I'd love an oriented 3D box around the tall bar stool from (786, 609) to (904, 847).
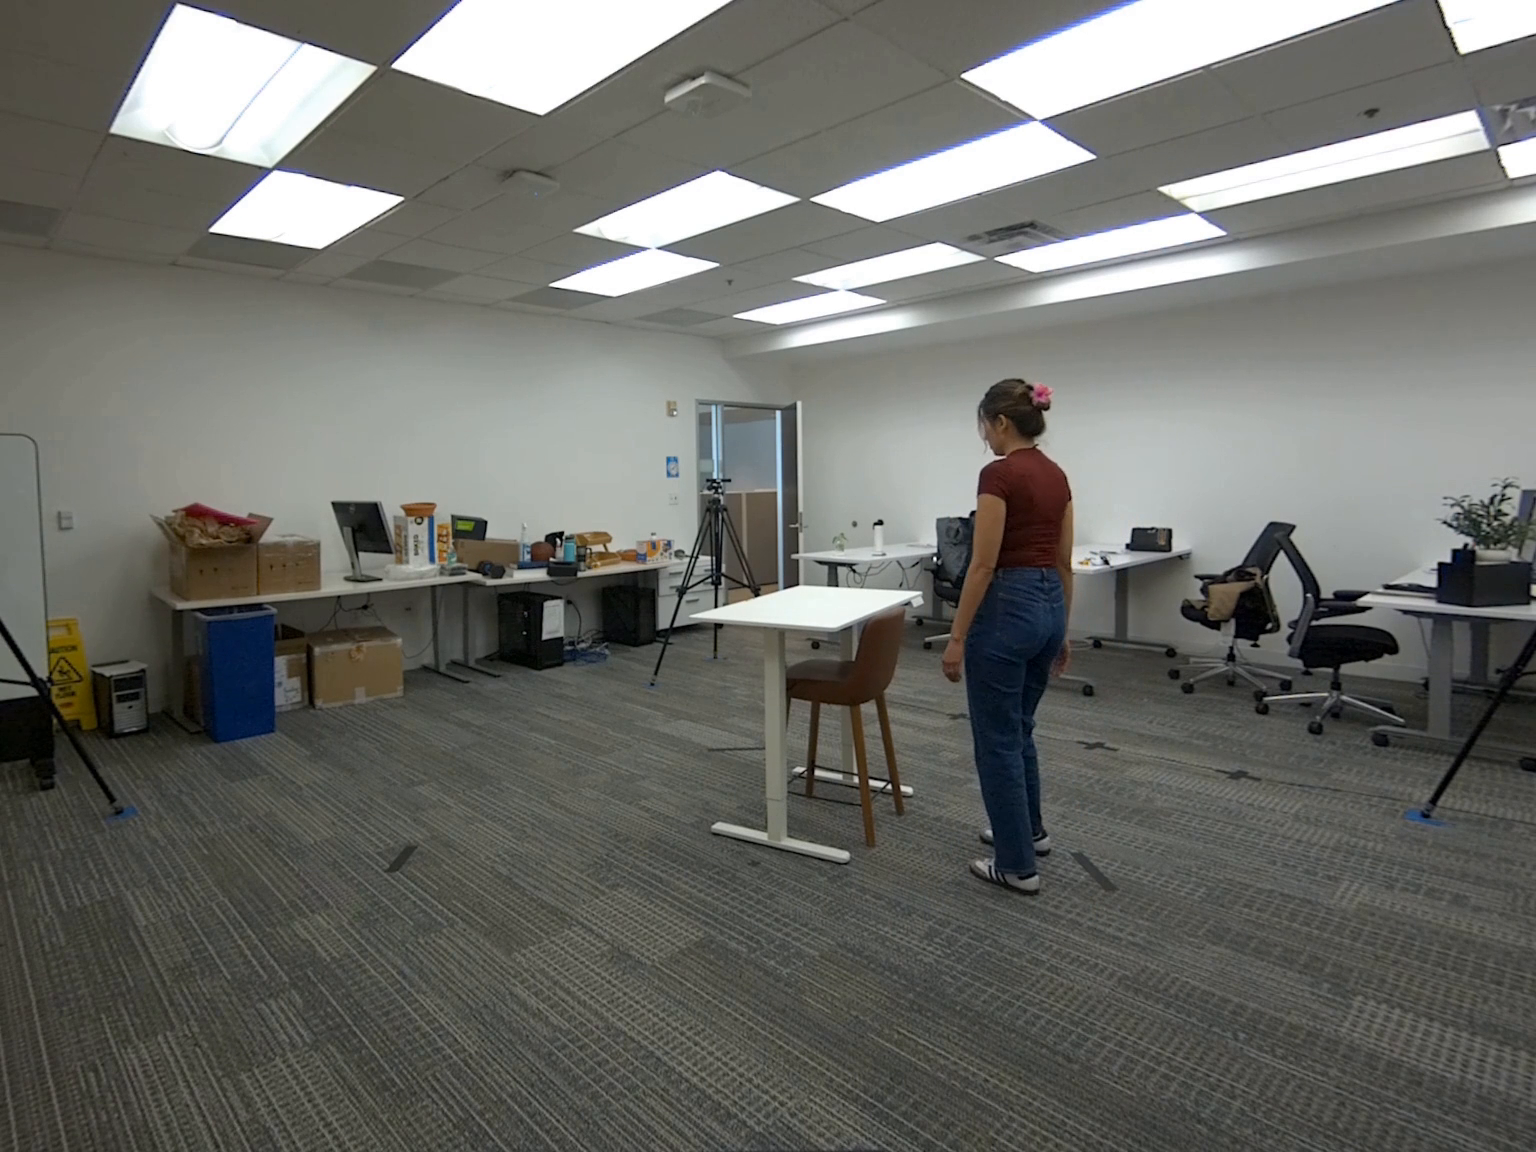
[{"bbox_3d":[0.284,0.570,3.473,0.480,0.886,0.447,4,6,28],"label":"tall bar stool"}]
